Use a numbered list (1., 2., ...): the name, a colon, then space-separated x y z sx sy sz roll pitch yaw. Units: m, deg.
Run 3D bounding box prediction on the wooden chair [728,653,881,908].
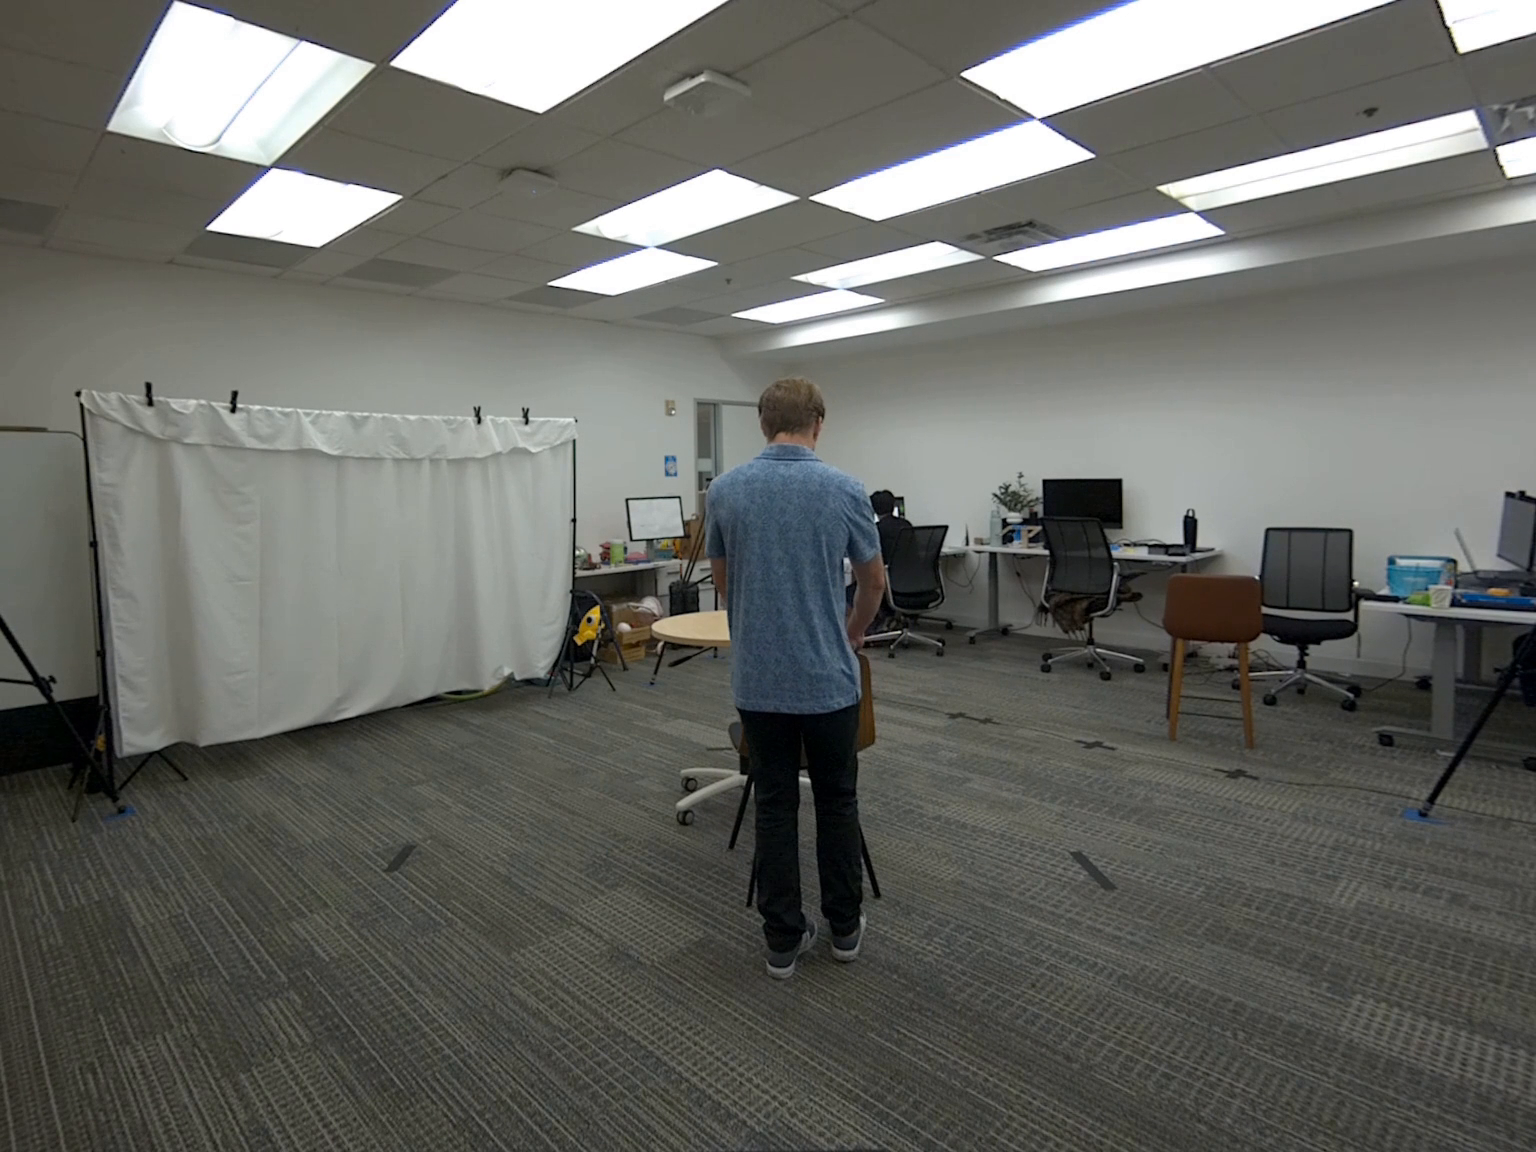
1. wooden chair: 0.106 0.624 3.005 0.474 0.870 0.531 -2 9 -9
